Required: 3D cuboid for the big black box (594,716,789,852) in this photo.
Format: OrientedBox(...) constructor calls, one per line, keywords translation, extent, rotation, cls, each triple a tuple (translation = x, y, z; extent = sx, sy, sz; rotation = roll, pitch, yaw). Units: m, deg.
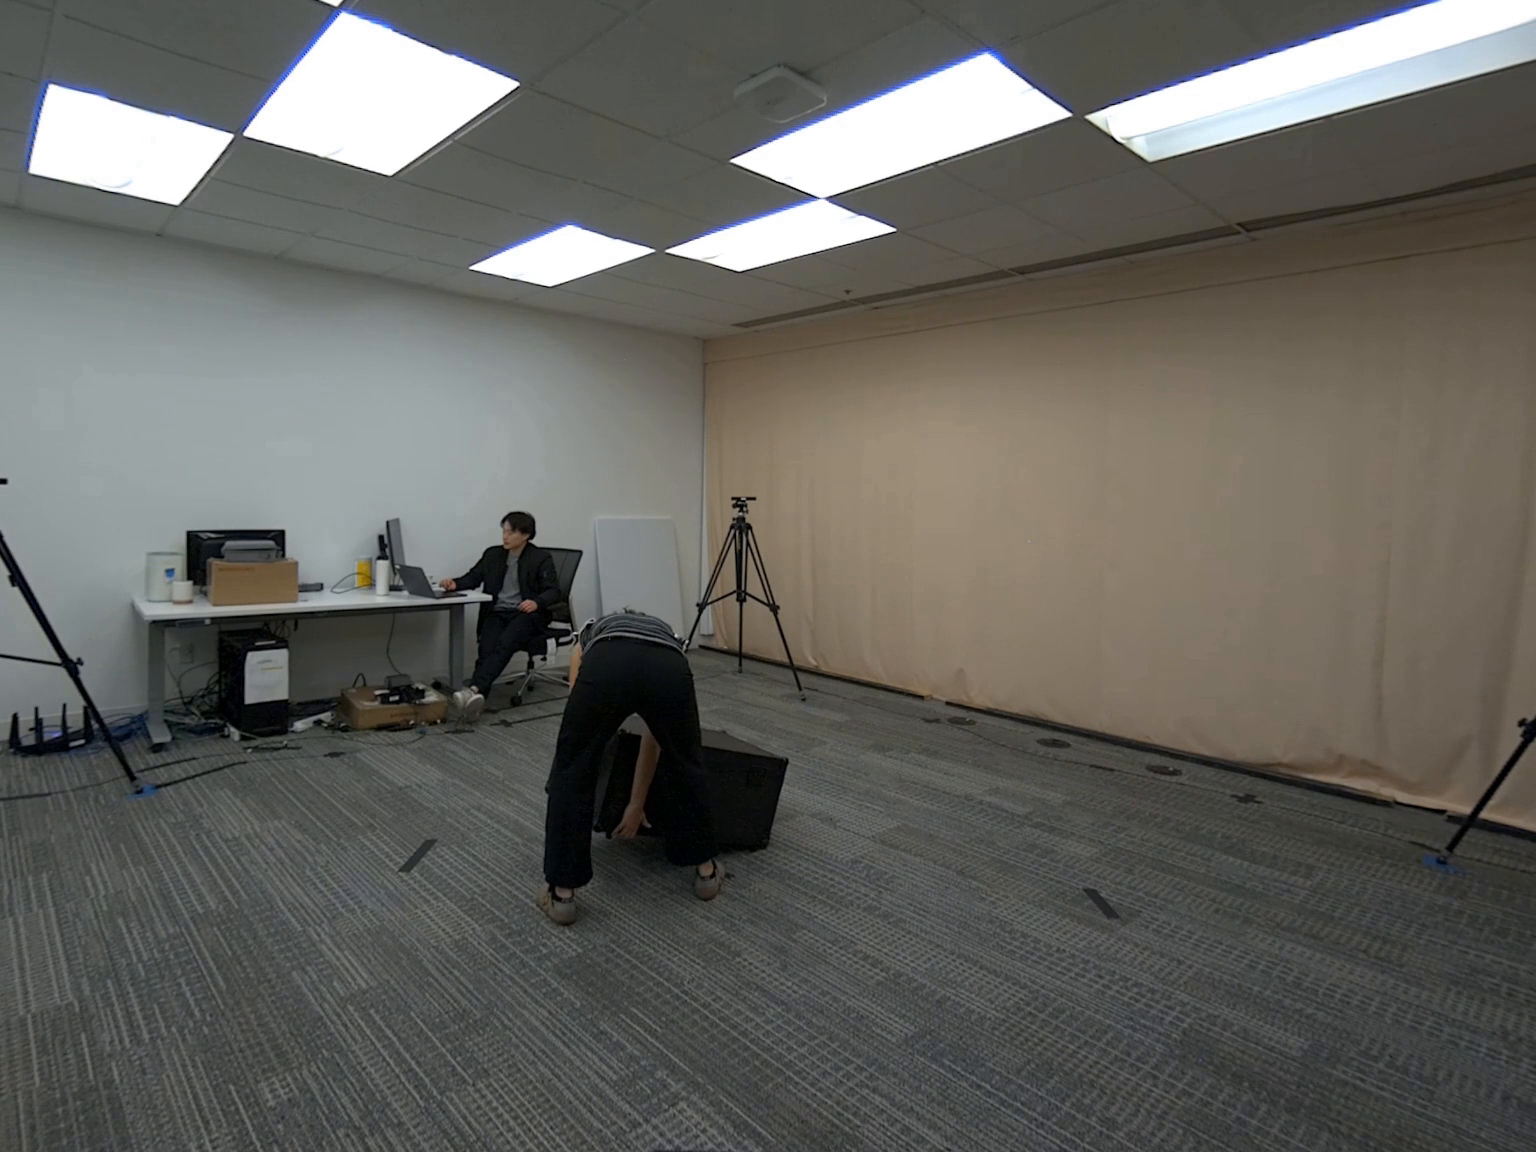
OrientedBox(translation=(-0.374, 0.817, 3.376), extent=(0.838, 0.397, 0.534), rotation=(16, -5, -35), cls="big black box")
